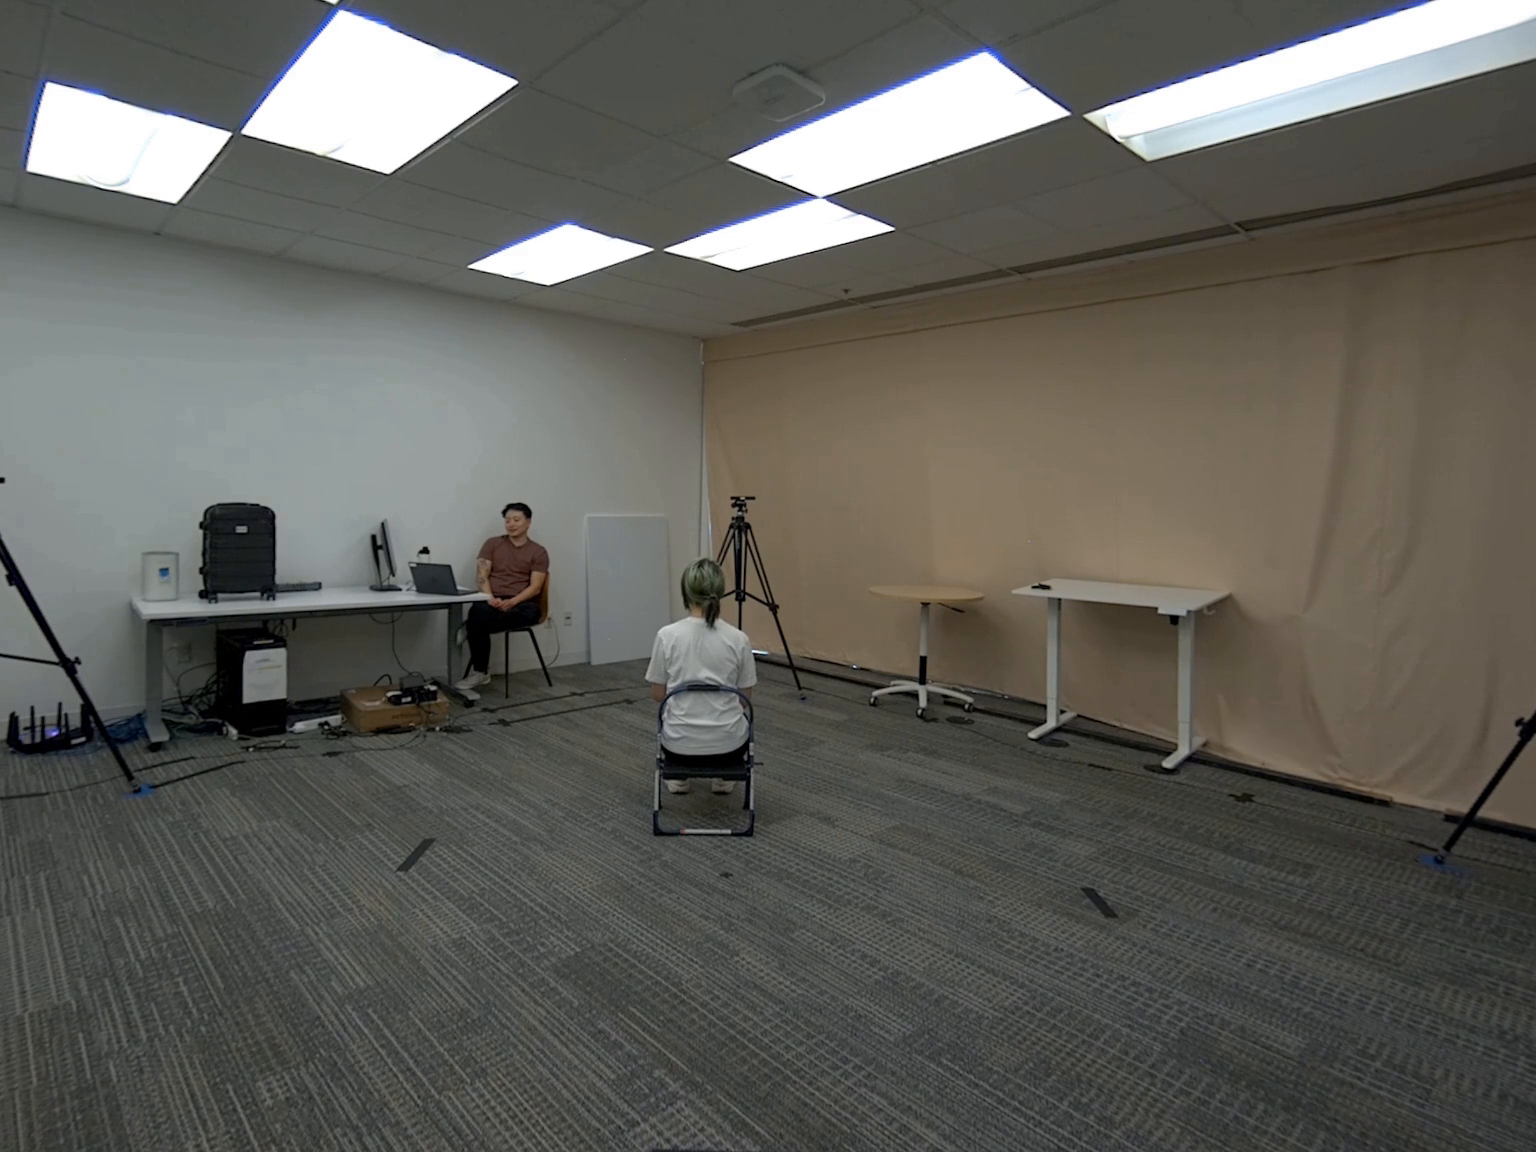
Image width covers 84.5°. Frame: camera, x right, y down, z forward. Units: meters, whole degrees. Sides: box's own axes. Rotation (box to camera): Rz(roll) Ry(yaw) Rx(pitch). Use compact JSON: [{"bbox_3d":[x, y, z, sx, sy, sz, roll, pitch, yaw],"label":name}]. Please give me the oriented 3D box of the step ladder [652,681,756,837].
[{"bbox_3d":[-0.285,0.762,3.613,0.429,0.605,0.351,1,2,-4],"label":"step ladder"}]
